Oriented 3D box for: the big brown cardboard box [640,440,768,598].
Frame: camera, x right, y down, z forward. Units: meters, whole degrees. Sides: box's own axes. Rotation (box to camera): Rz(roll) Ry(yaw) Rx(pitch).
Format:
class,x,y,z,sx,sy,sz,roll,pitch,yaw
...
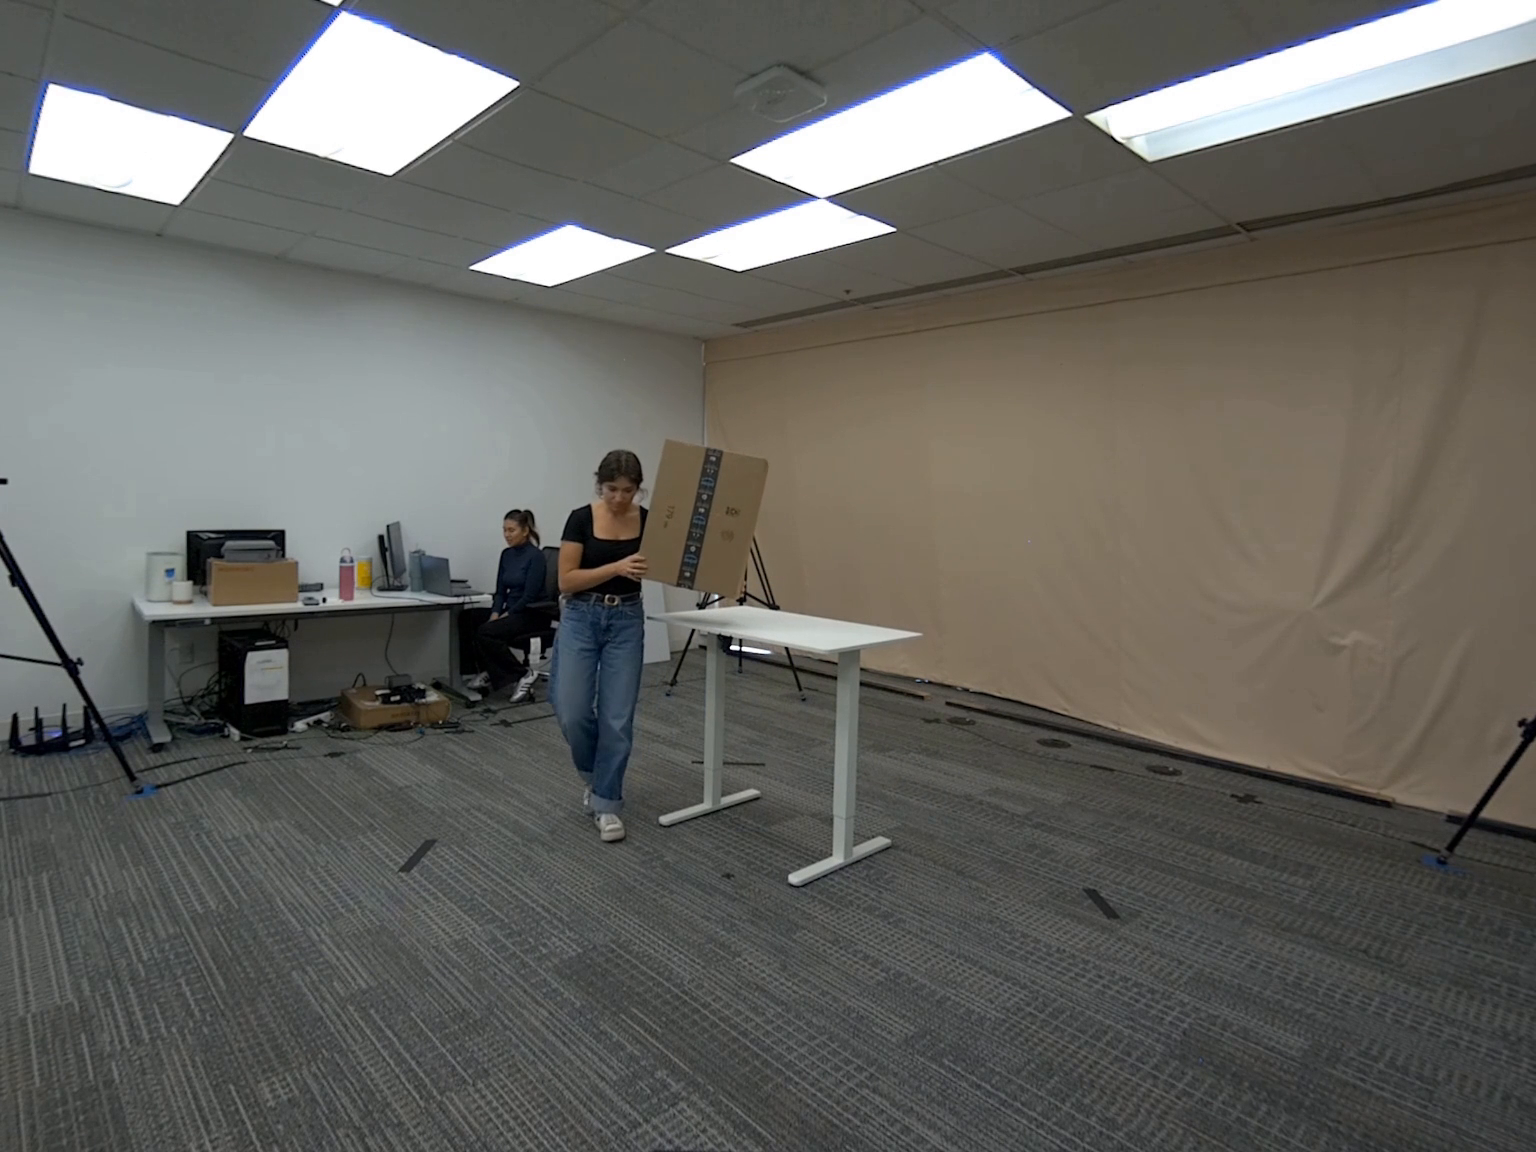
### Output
class,x,y,z,sx,sy,sz,roll,pitch,yaw
big brown cardboard box,-0.274,-0.230,3.413,0.419,0.589,0.232,13,0,3
